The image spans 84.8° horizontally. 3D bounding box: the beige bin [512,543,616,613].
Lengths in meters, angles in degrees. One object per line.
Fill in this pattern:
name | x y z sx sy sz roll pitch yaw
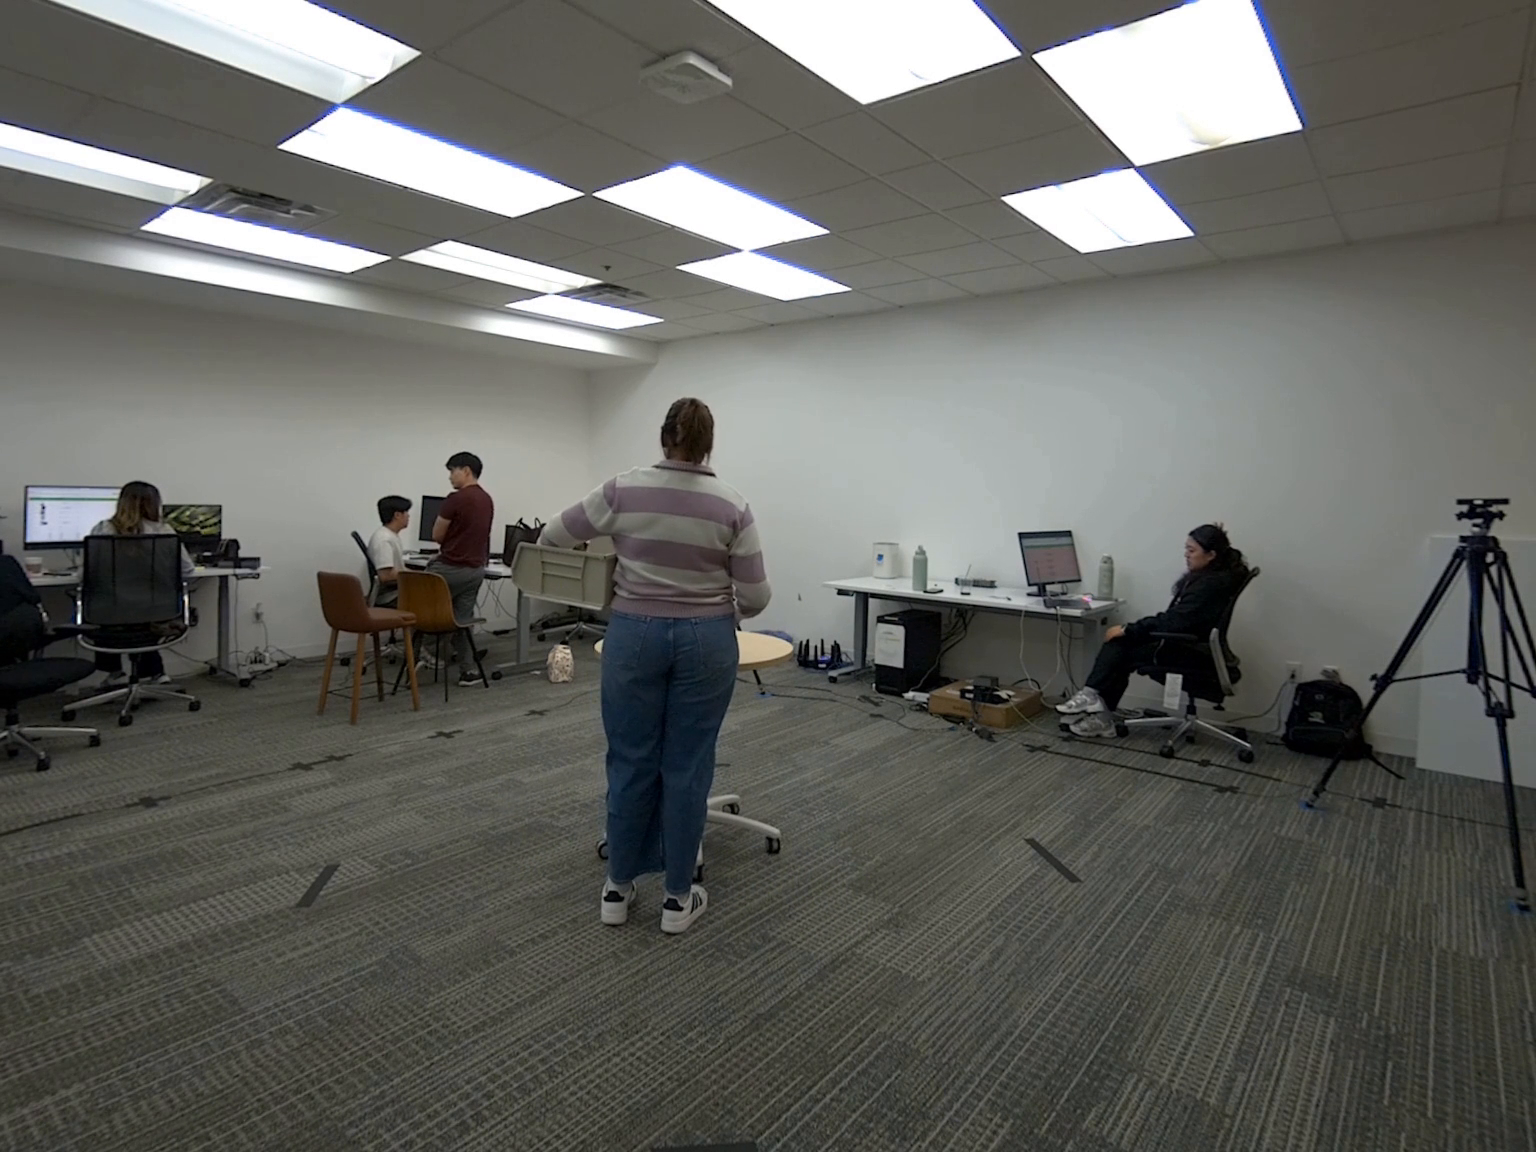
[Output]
beige bin | -0.603 -0.039 2.897 0.388 0.187 0.414 11 11 24
